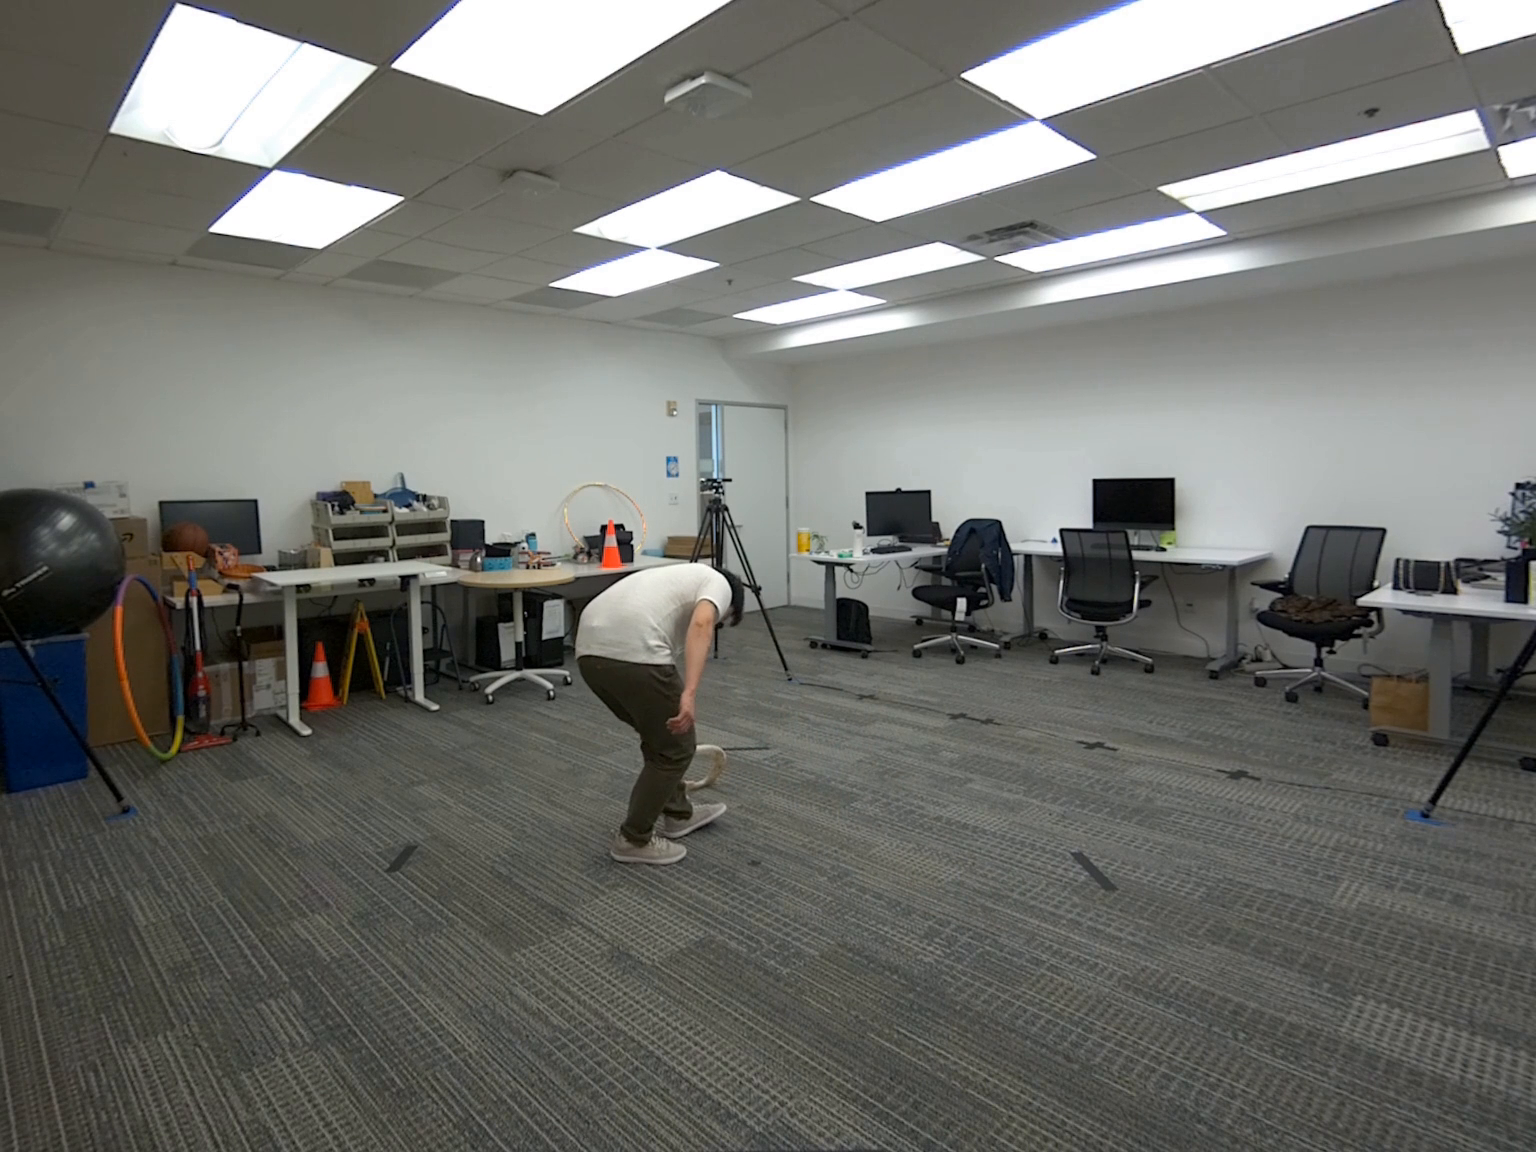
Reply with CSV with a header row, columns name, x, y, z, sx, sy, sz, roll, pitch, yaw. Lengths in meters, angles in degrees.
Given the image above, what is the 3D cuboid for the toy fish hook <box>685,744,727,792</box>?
name,x,y,z,sx,sy,sz,roll,pitch,yaw
toy fish hook,-0.379,0.827,3.767,0.488,0.225,0.050,24,-1,-42
